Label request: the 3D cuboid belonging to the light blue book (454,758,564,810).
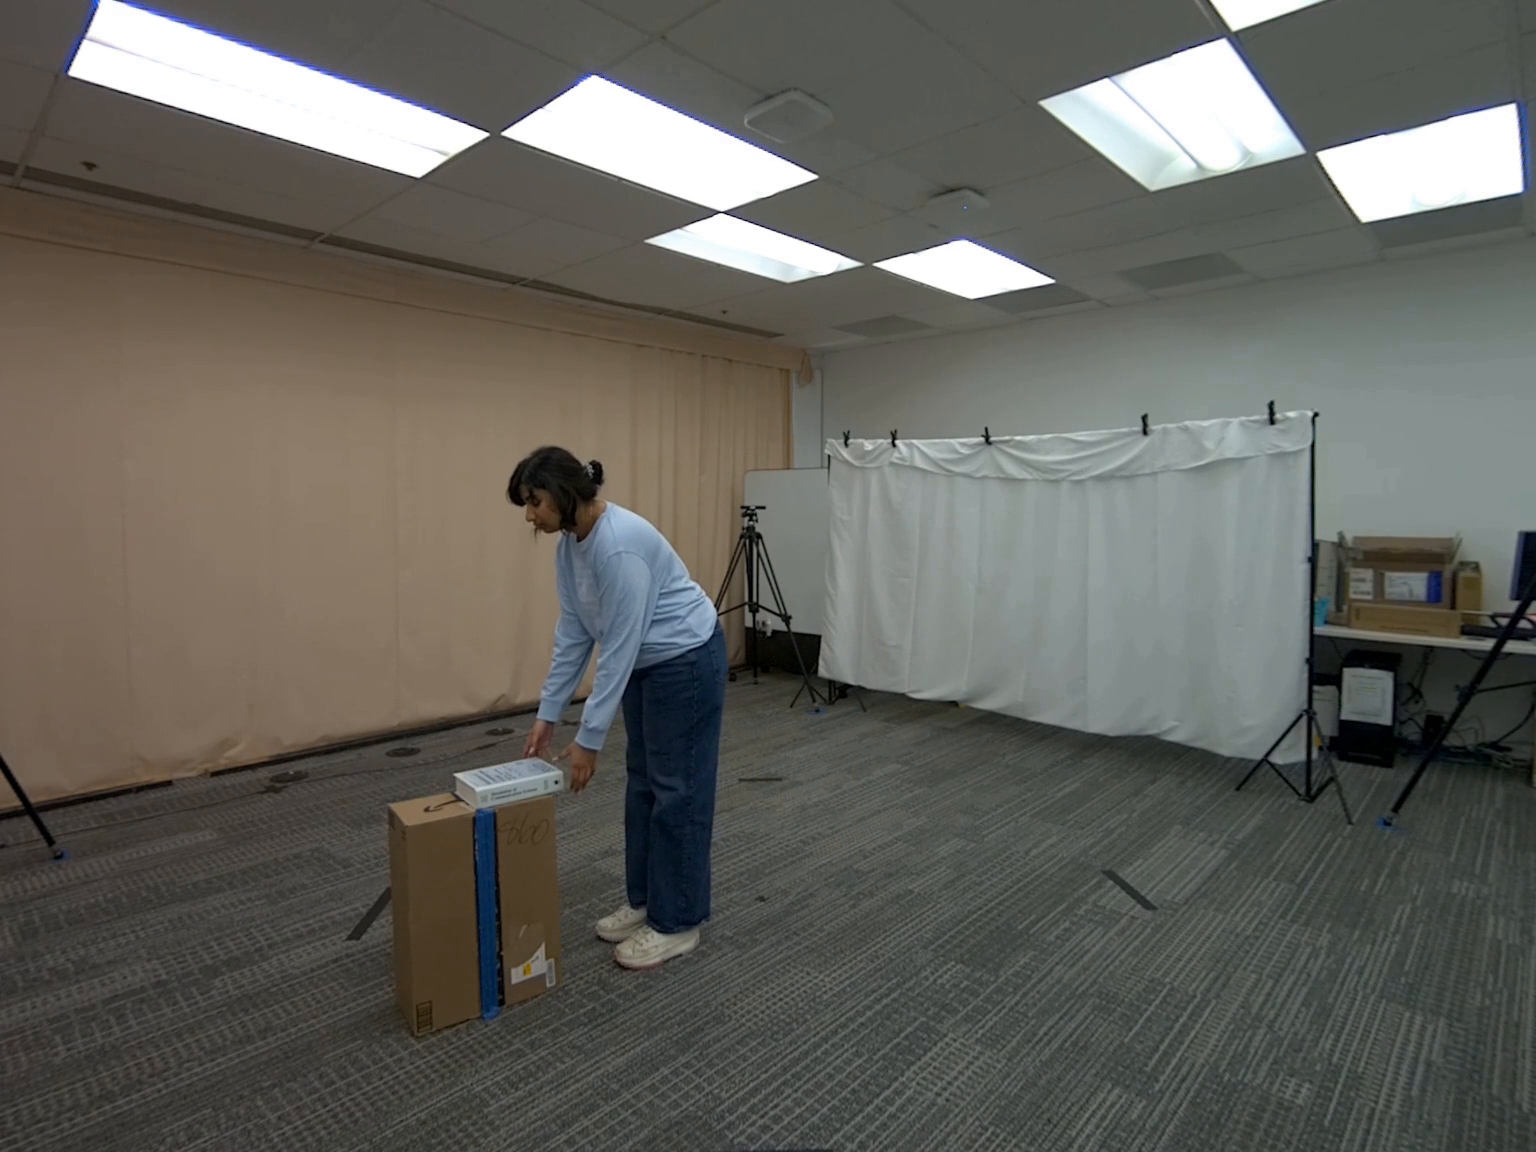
[{"bbox_3d":[-0.751,0.602,2.450,0.253,0.059,0.197,-3,5,-36],"label":"light blue book"}]
